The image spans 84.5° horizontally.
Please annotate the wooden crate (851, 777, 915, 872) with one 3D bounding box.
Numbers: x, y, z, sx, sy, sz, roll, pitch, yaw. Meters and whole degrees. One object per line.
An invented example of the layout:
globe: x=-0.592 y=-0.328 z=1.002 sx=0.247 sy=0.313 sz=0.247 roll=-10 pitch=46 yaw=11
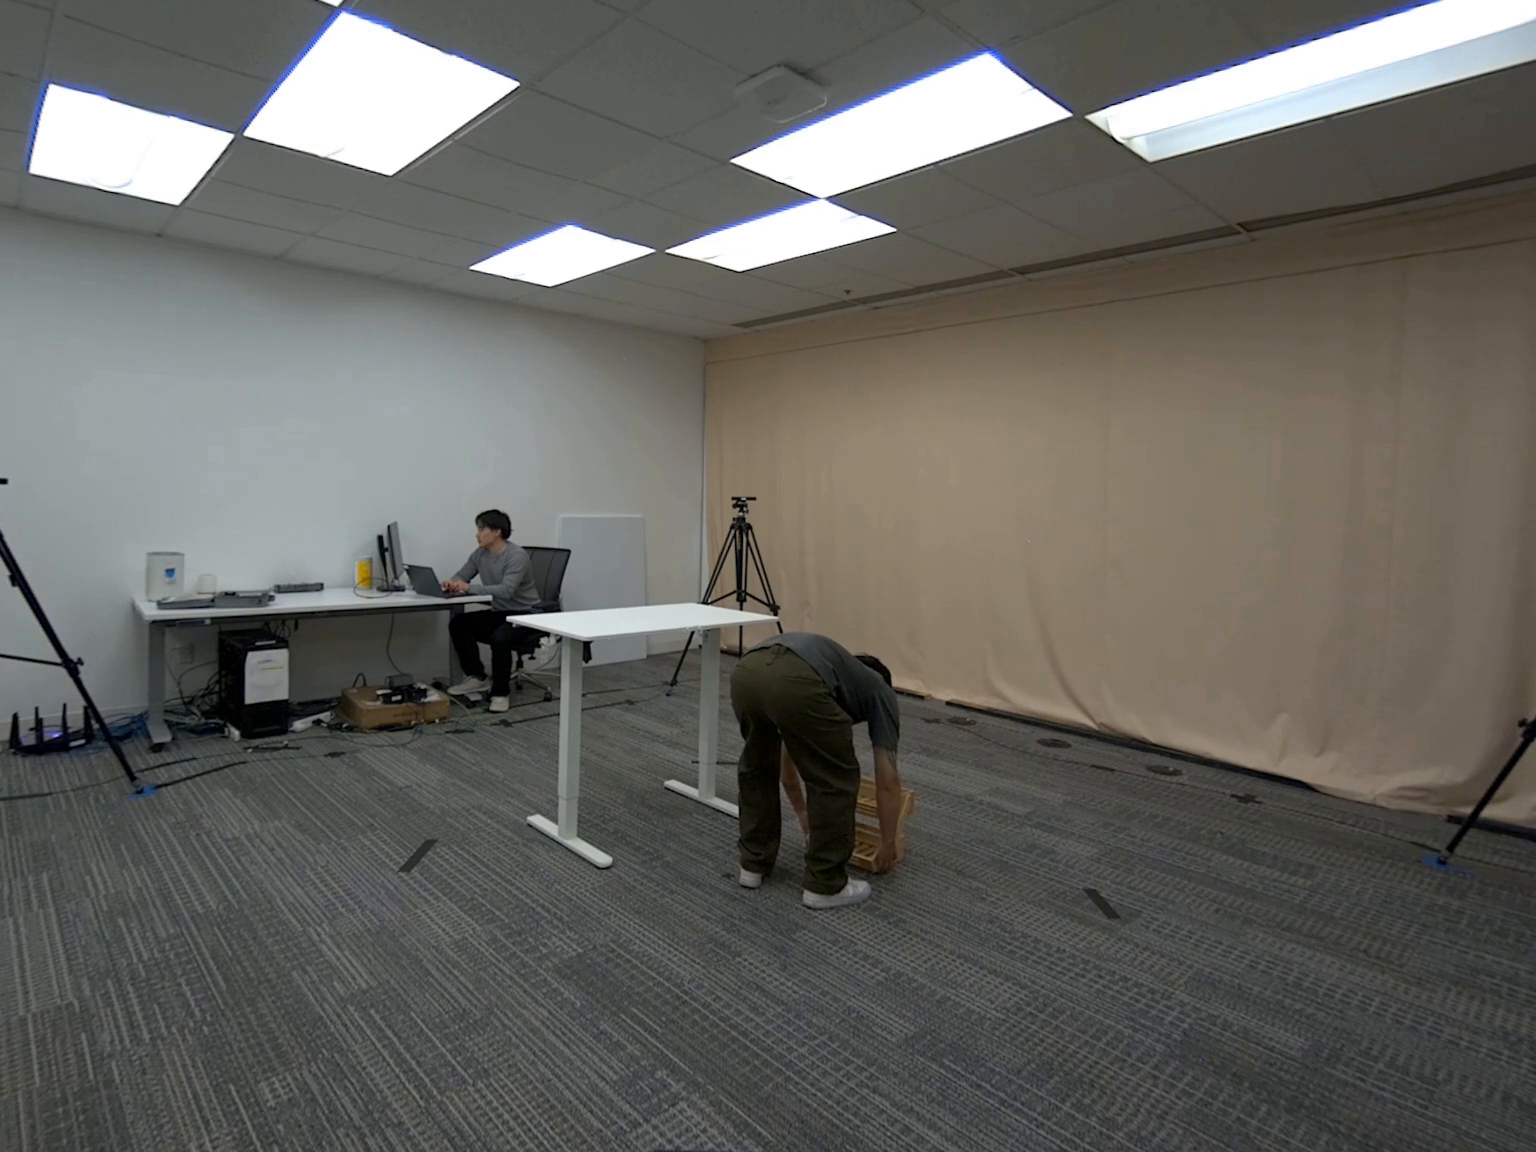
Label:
wooden crate: x=0.354 y=0.958 z=3.313 sx=0.332 sy=0.273 sz=0.294 roll=4 pitch=-1 yaw=38
